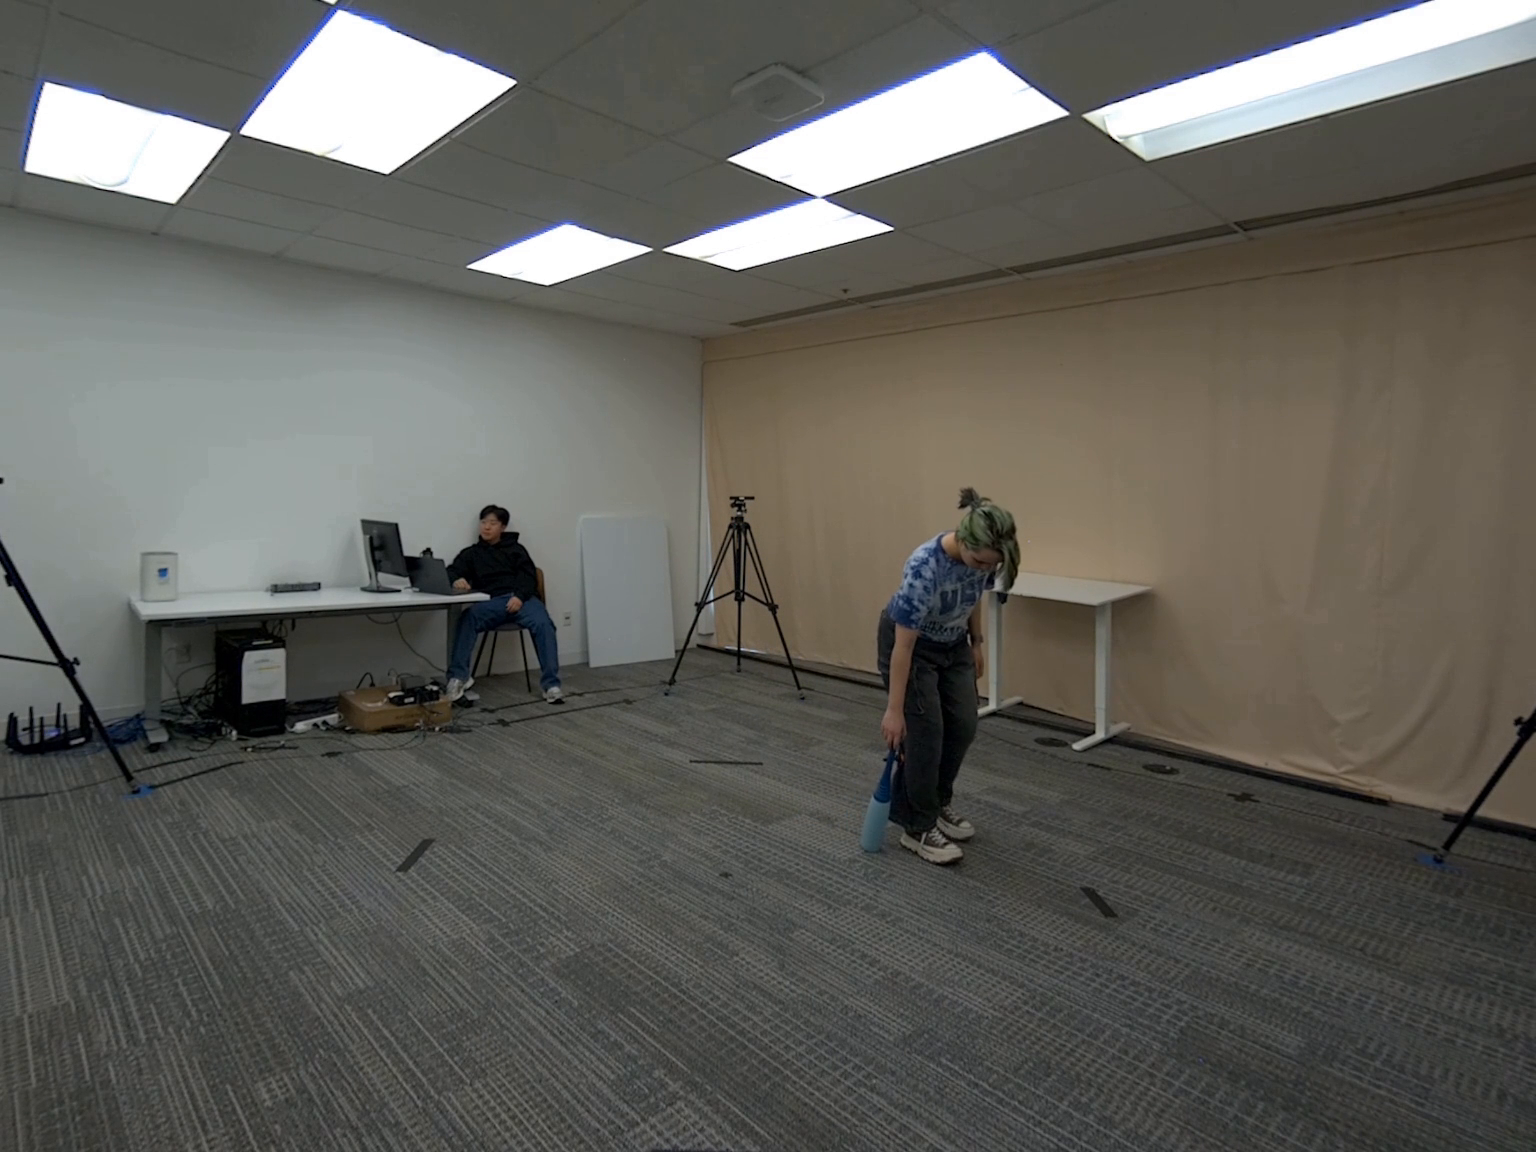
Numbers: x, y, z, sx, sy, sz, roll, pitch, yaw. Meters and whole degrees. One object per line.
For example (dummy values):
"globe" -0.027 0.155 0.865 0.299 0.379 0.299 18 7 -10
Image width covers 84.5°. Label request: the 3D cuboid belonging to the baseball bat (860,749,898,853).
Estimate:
"baseball bat" 0.437 0.844 3.267 0.089 0.535 0.090 6 24 -4
